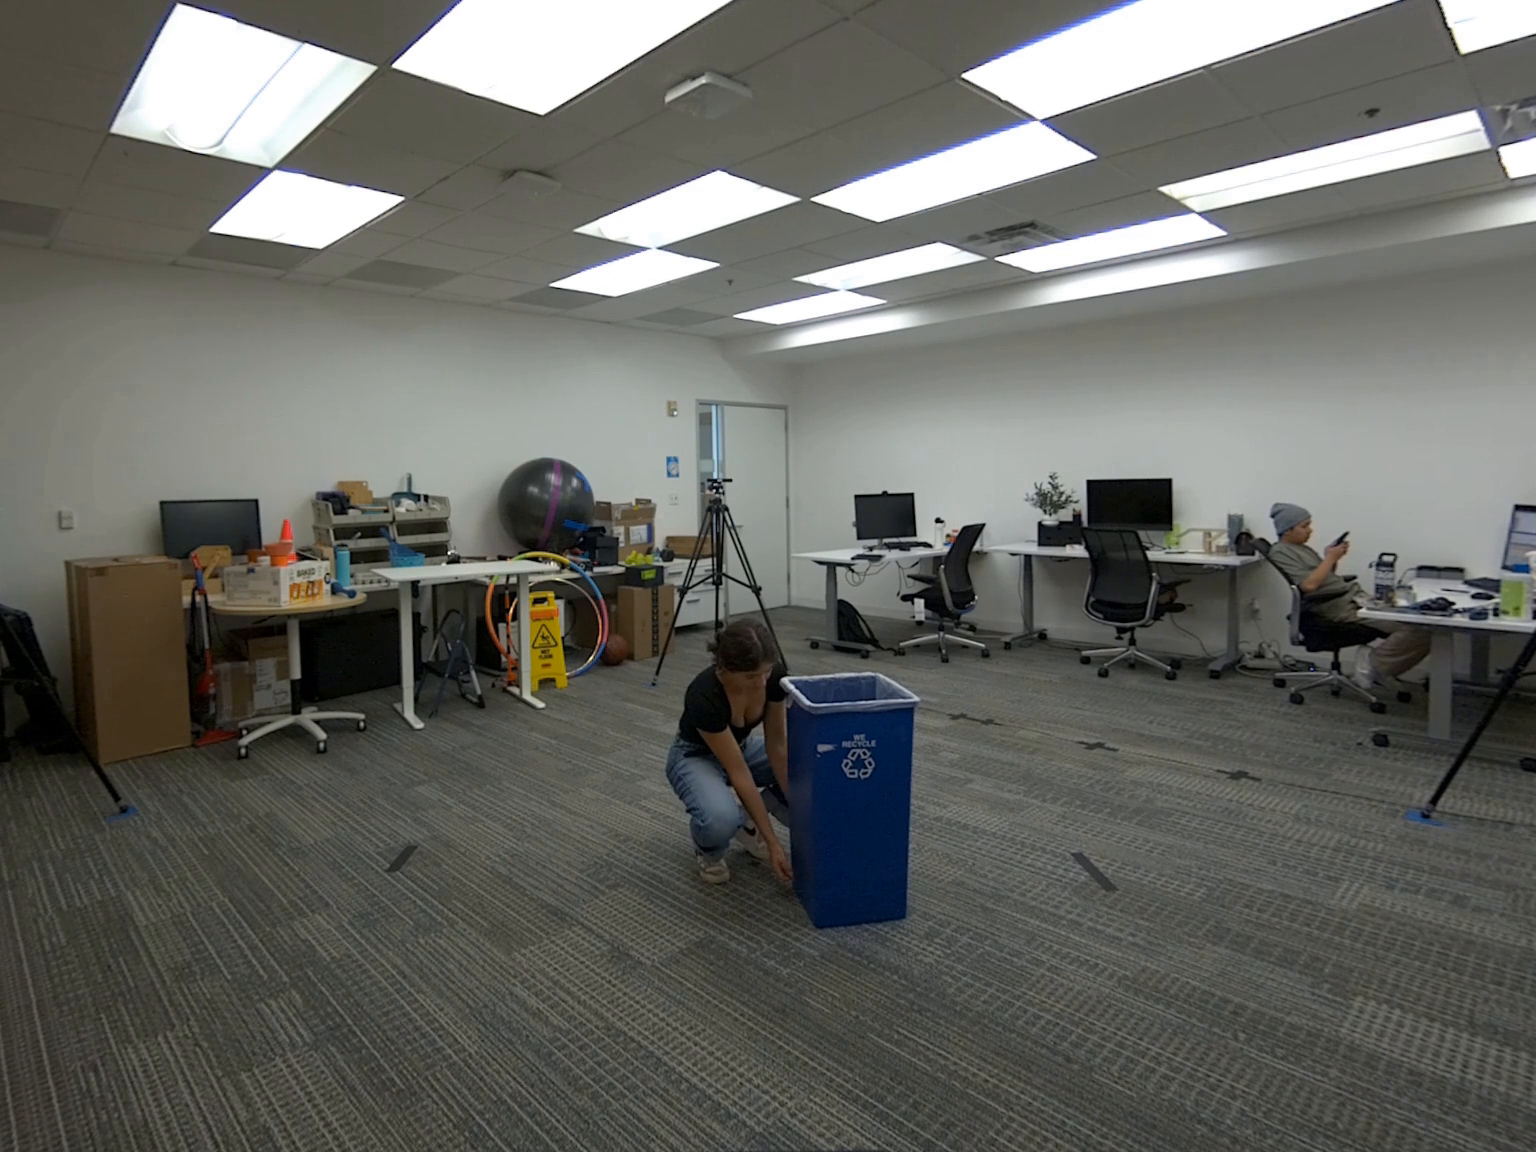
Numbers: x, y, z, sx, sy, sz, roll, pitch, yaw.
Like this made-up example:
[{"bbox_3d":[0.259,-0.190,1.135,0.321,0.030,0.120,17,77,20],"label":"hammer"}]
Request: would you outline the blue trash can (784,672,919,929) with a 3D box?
[{"bbox_3d":[0.265,0.720,2.787,0.370,0.710,0.383,-2,5,-11],"label":"blue trash can"}]
